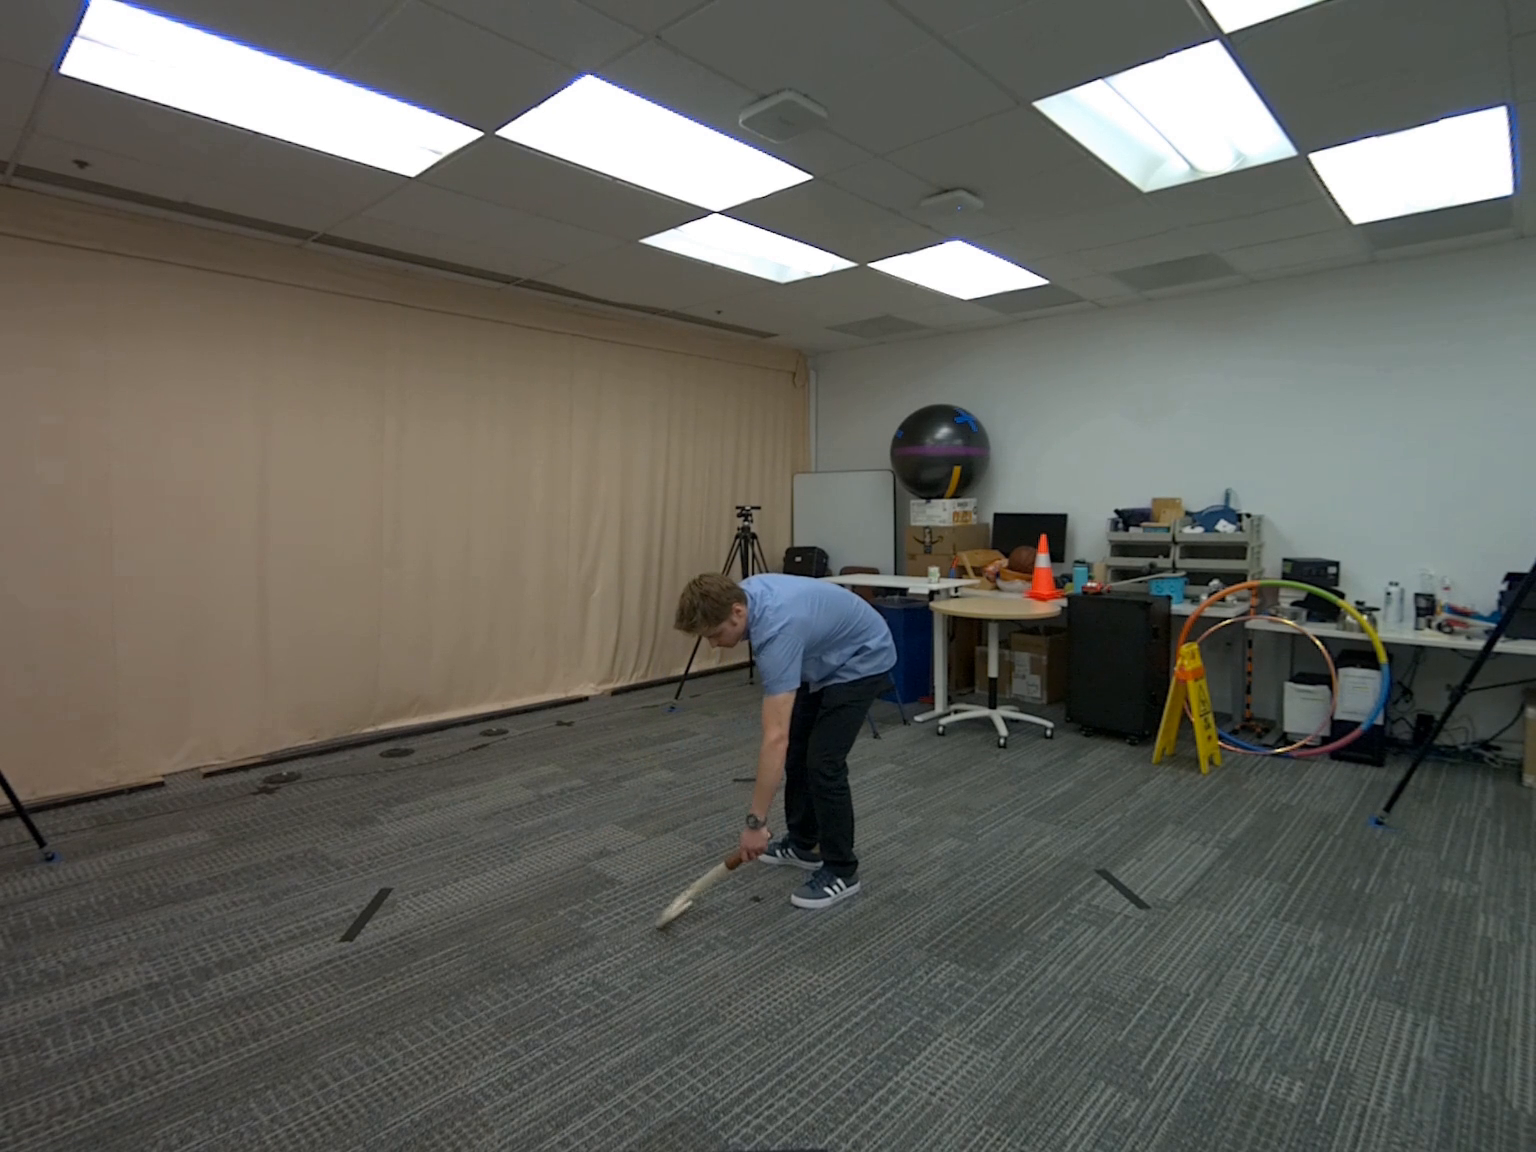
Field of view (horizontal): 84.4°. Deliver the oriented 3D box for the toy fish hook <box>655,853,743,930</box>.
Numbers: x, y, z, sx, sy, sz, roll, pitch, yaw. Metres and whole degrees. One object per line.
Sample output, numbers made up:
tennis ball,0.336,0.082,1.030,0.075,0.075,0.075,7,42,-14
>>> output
toy fish hook,-0.169,0.994,2.743,0.509,0.048,0.222,-44,-4,18
